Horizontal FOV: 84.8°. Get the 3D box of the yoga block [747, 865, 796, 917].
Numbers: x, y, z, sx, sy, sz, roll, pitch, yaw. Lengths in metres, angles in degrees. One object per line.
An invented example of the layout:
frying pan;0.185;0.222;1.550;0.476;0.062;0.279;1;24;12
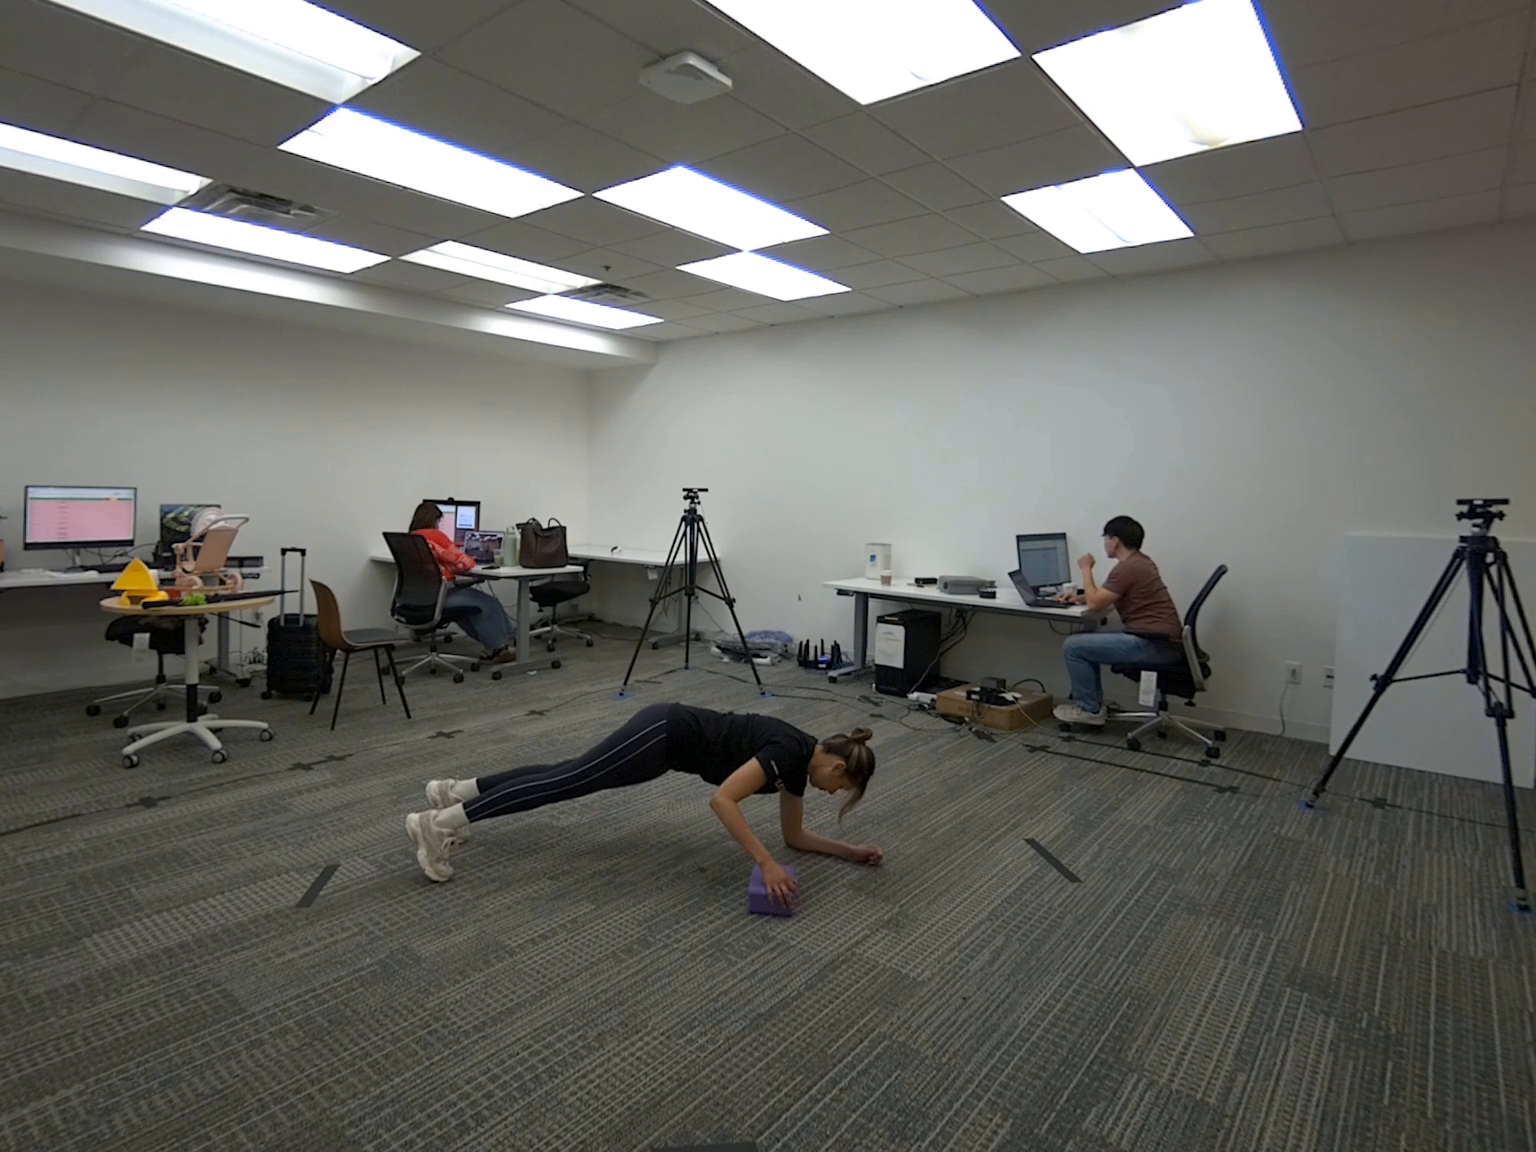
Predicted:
yoga block;0.005;1.051;2.896;0.150;0.076;0.229;1;7;4
